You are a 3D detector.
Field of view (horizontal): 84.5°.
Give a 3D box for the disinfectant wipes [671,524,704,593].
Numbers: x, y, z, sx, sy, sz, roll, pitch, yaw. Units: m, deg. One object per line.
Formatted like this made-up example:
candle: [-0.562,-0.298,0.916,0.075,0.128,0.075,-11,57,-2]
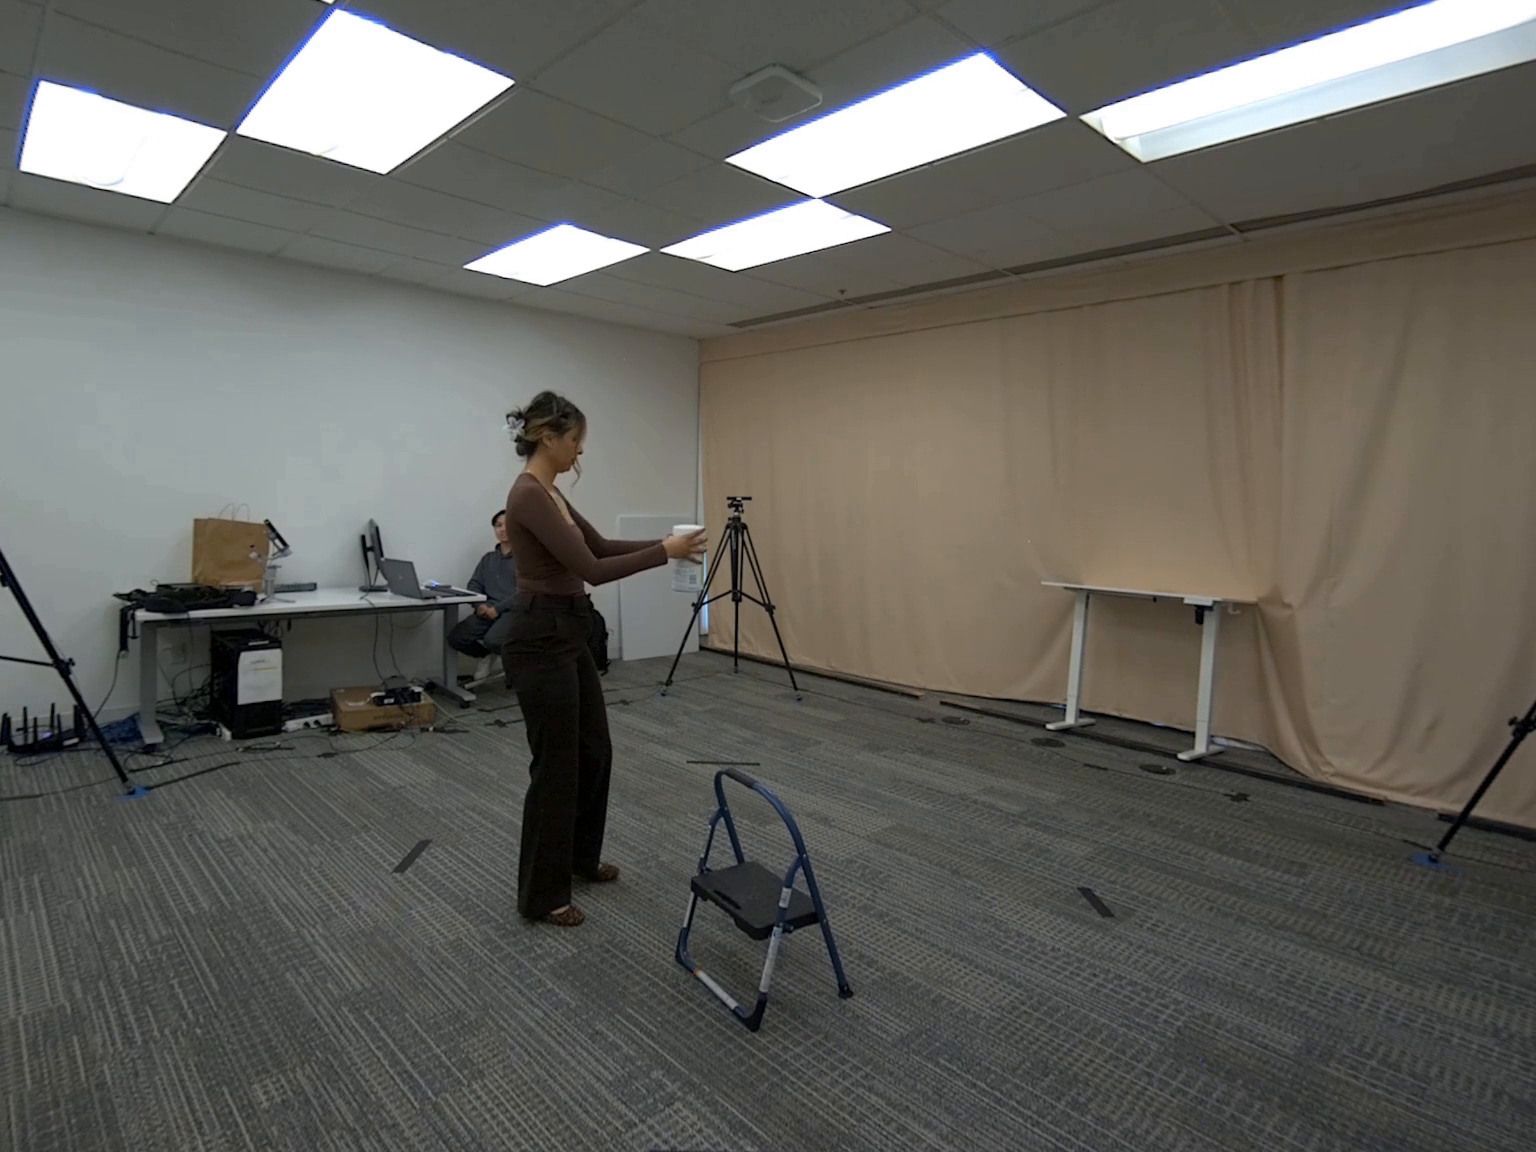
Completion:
disinfectant wipes: [-0.280,-0.064,2.813,0.118,0.216,0.118,1,6,-2]
